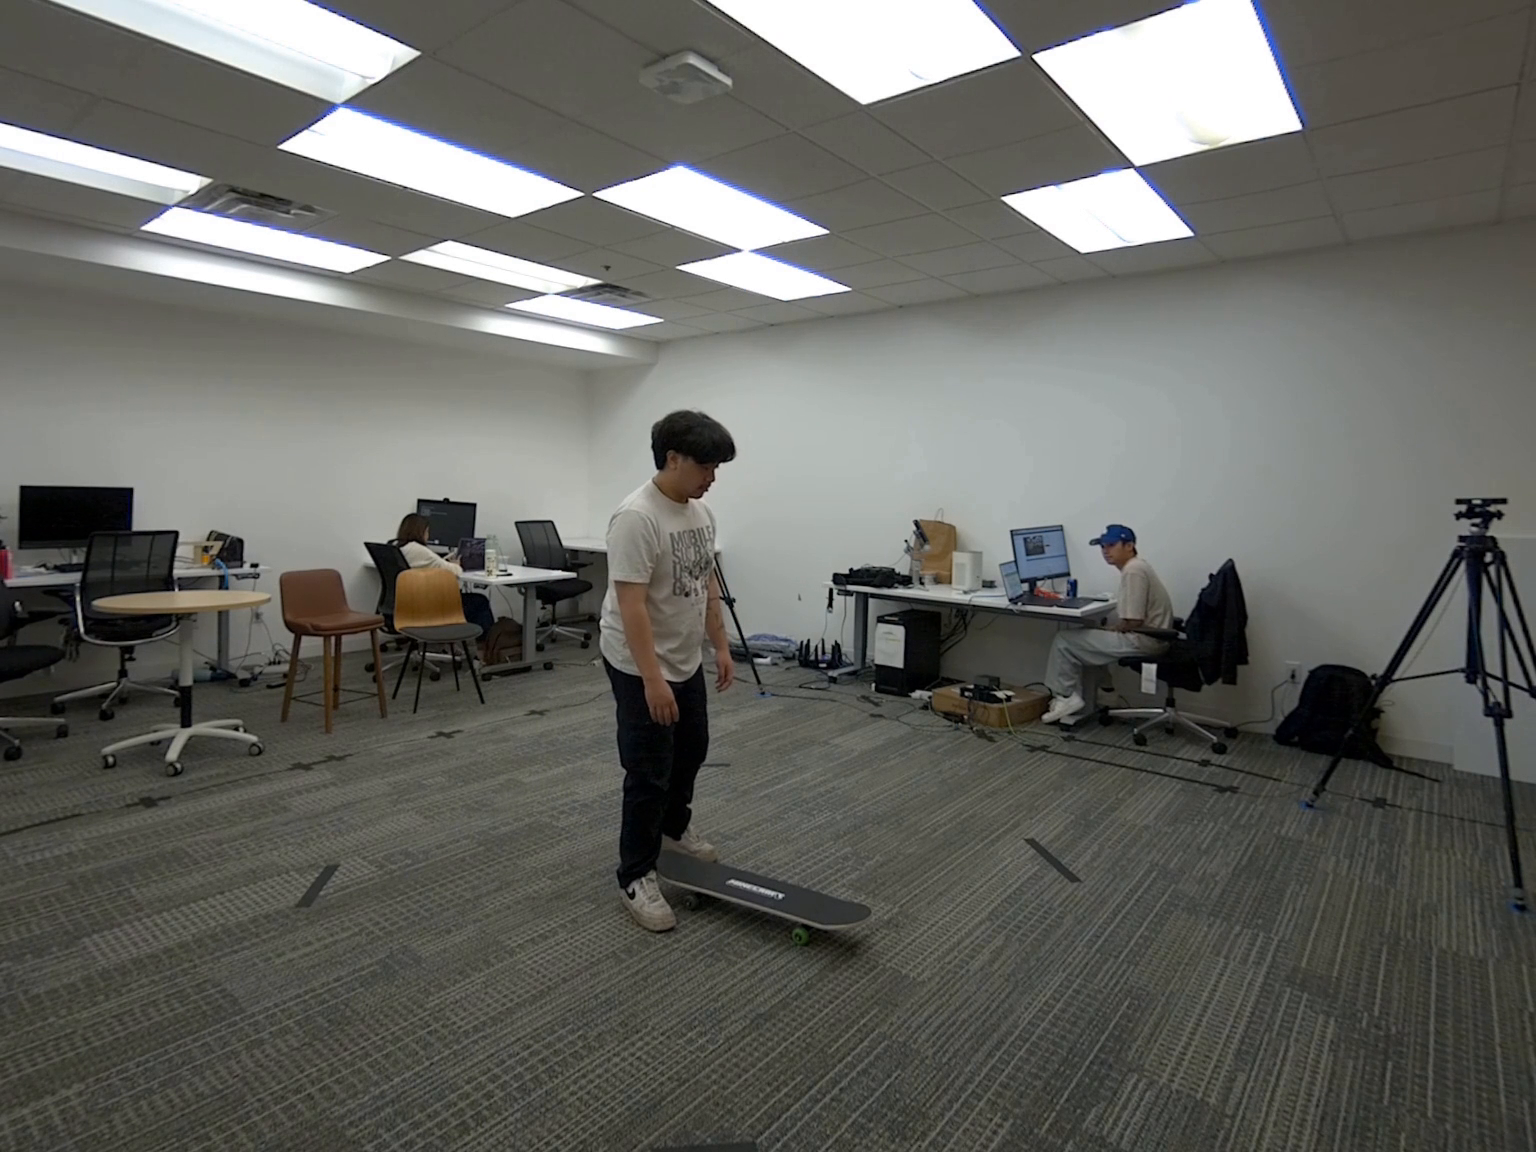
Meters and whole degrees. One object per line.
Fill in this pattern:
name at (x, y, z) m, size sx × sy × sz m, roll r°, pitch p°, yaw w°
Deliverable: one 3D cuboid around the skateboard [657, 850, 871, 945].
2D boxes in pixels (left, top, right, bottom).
skateboard at (-0.048, 1.051, 2.770) m, size 0.808 × 0.110 × 0.188 m, roll 4°, pitch 5°, yaw 29°
